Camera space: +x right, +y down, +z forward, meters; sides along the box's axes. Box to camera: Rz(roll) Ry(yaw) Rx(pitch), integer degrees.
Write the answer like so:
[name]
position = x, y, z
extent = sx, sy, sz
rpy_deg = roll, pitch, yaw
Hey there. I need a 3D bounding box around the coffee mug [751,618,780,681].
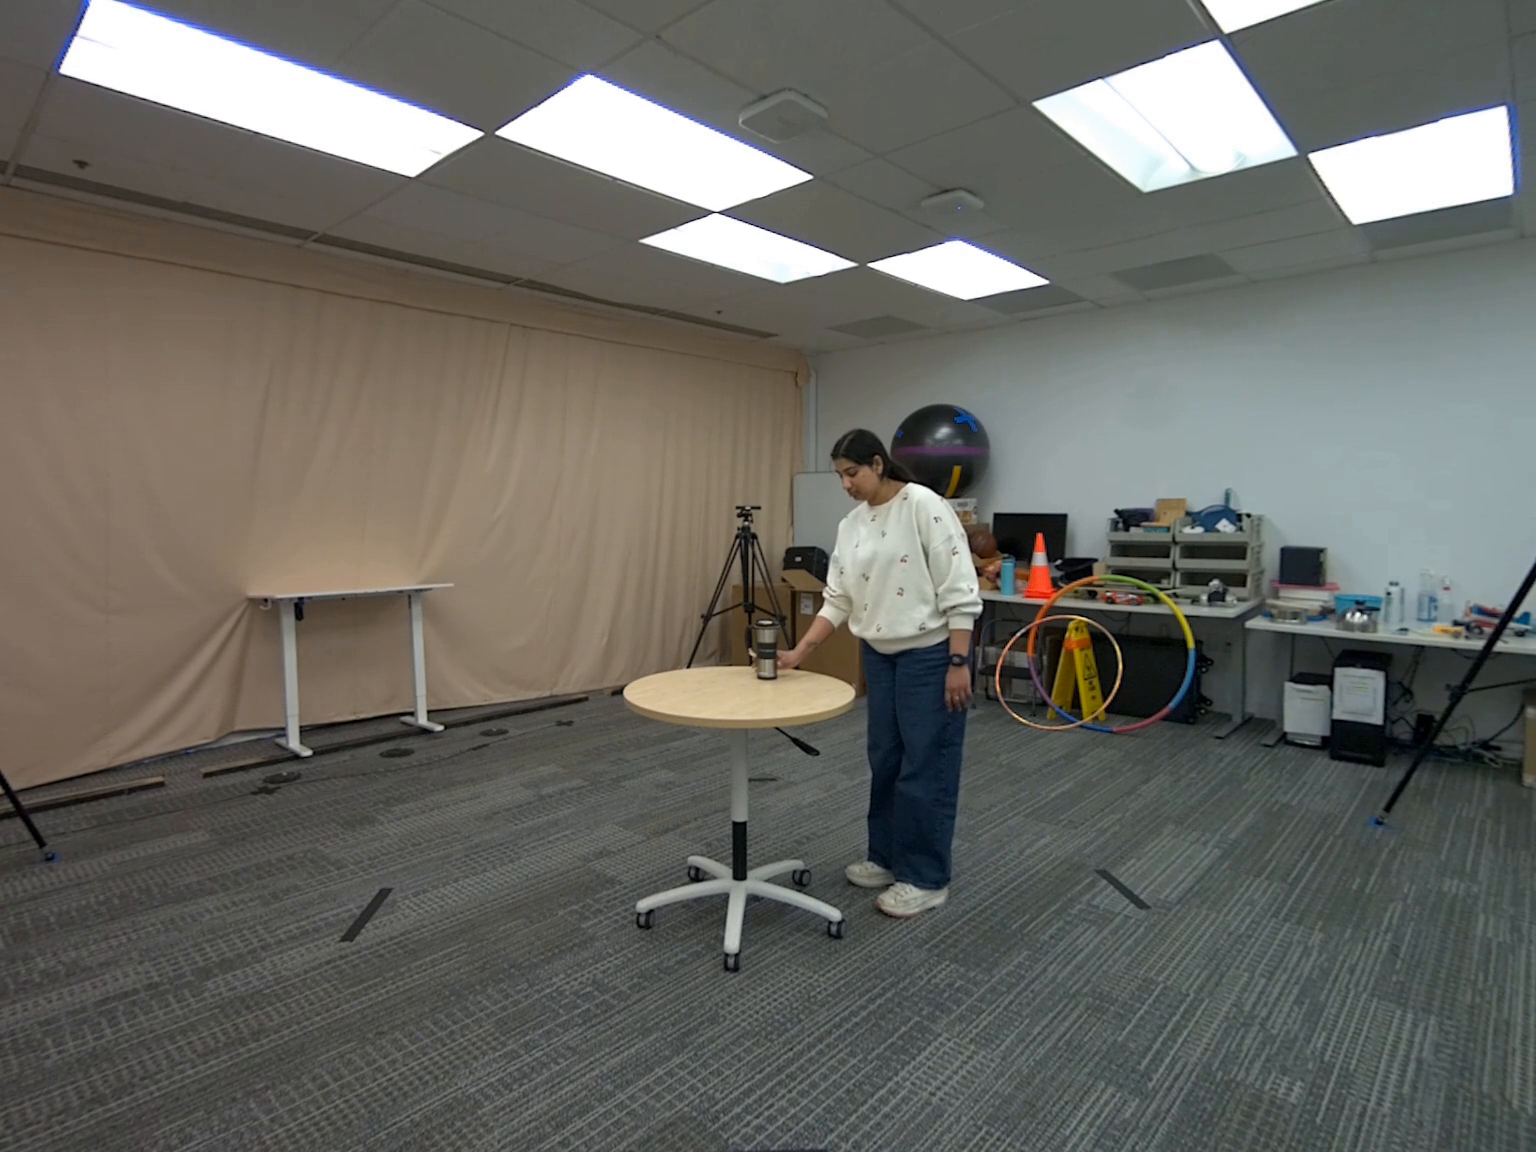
[coffee mug]
position = -0.010, 0.263, 2.984
extent = 0.085, 0.202, 0.126
rpy_deg = -6, 9, -40
